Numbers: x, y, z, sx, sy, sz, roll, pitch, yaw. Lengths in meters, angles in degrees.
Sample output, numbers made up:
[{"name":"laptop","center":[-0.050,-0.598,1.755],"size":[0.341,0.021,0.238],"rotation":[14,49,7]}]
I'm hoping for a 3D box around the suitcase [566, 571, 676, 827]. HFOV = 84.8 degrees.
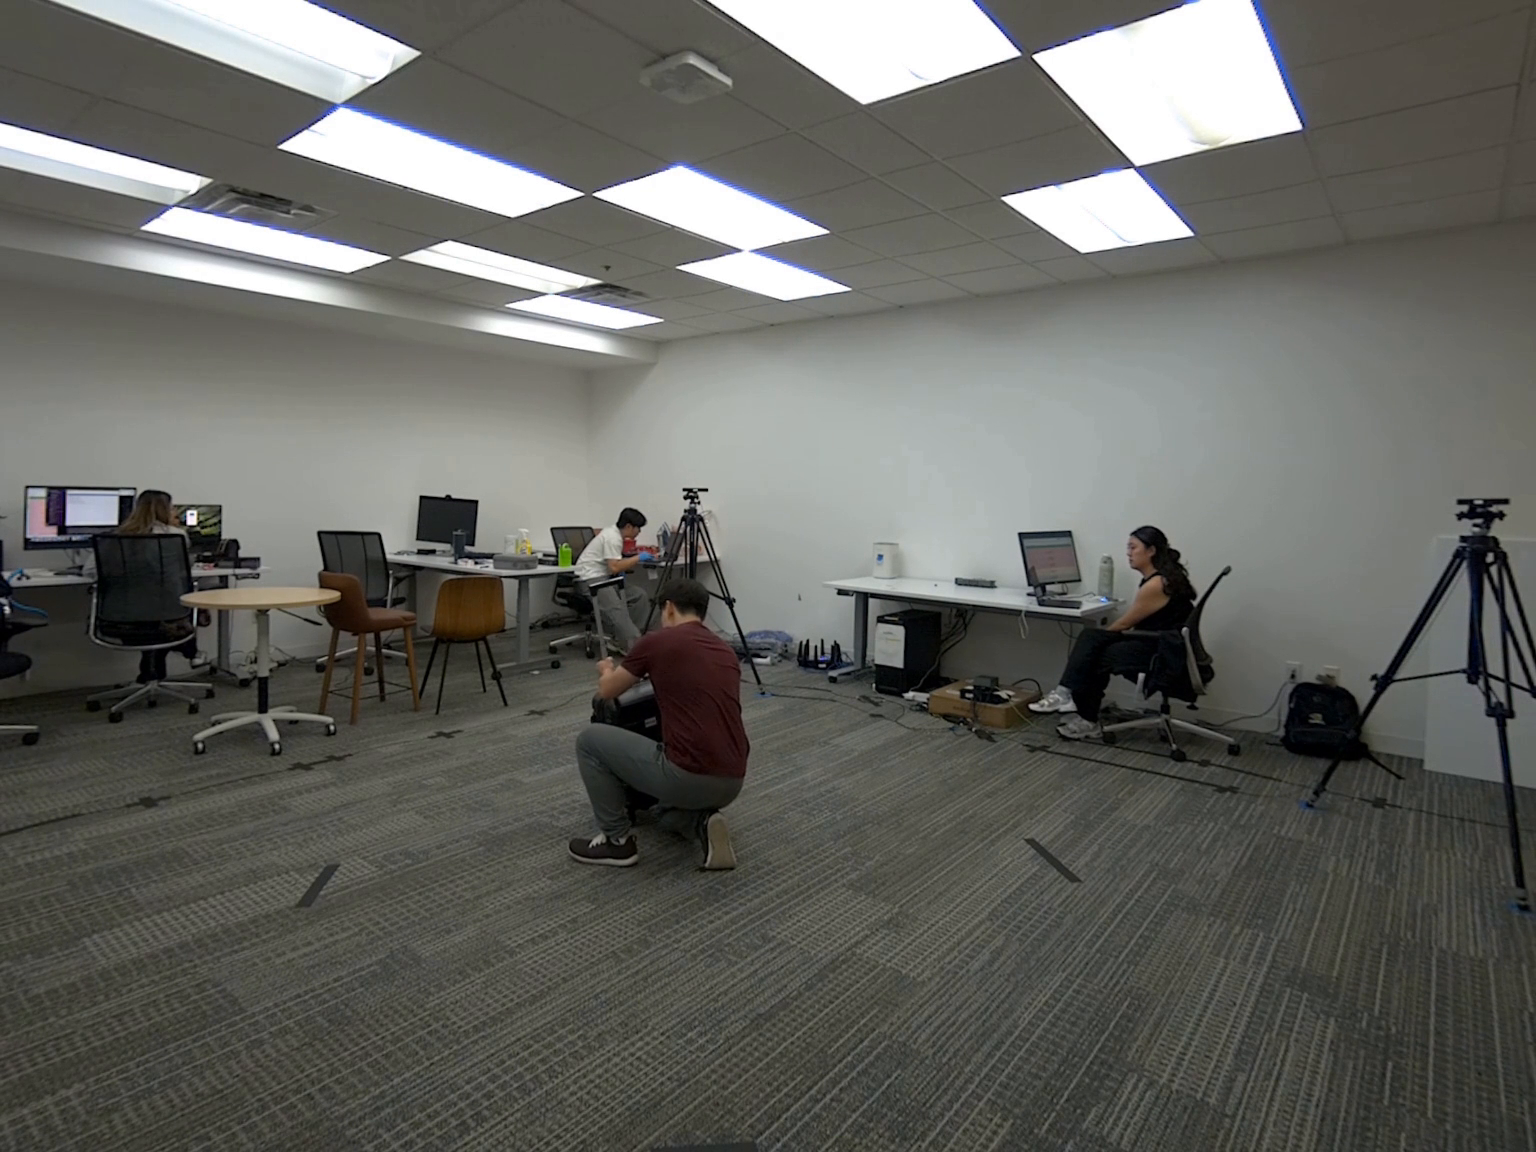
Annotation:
[{"name":"suitcase","center":[-0.565,0.510,3.592],"size":[0.375,0.969,0.265],"rotation":[-12,10,-31]}]
